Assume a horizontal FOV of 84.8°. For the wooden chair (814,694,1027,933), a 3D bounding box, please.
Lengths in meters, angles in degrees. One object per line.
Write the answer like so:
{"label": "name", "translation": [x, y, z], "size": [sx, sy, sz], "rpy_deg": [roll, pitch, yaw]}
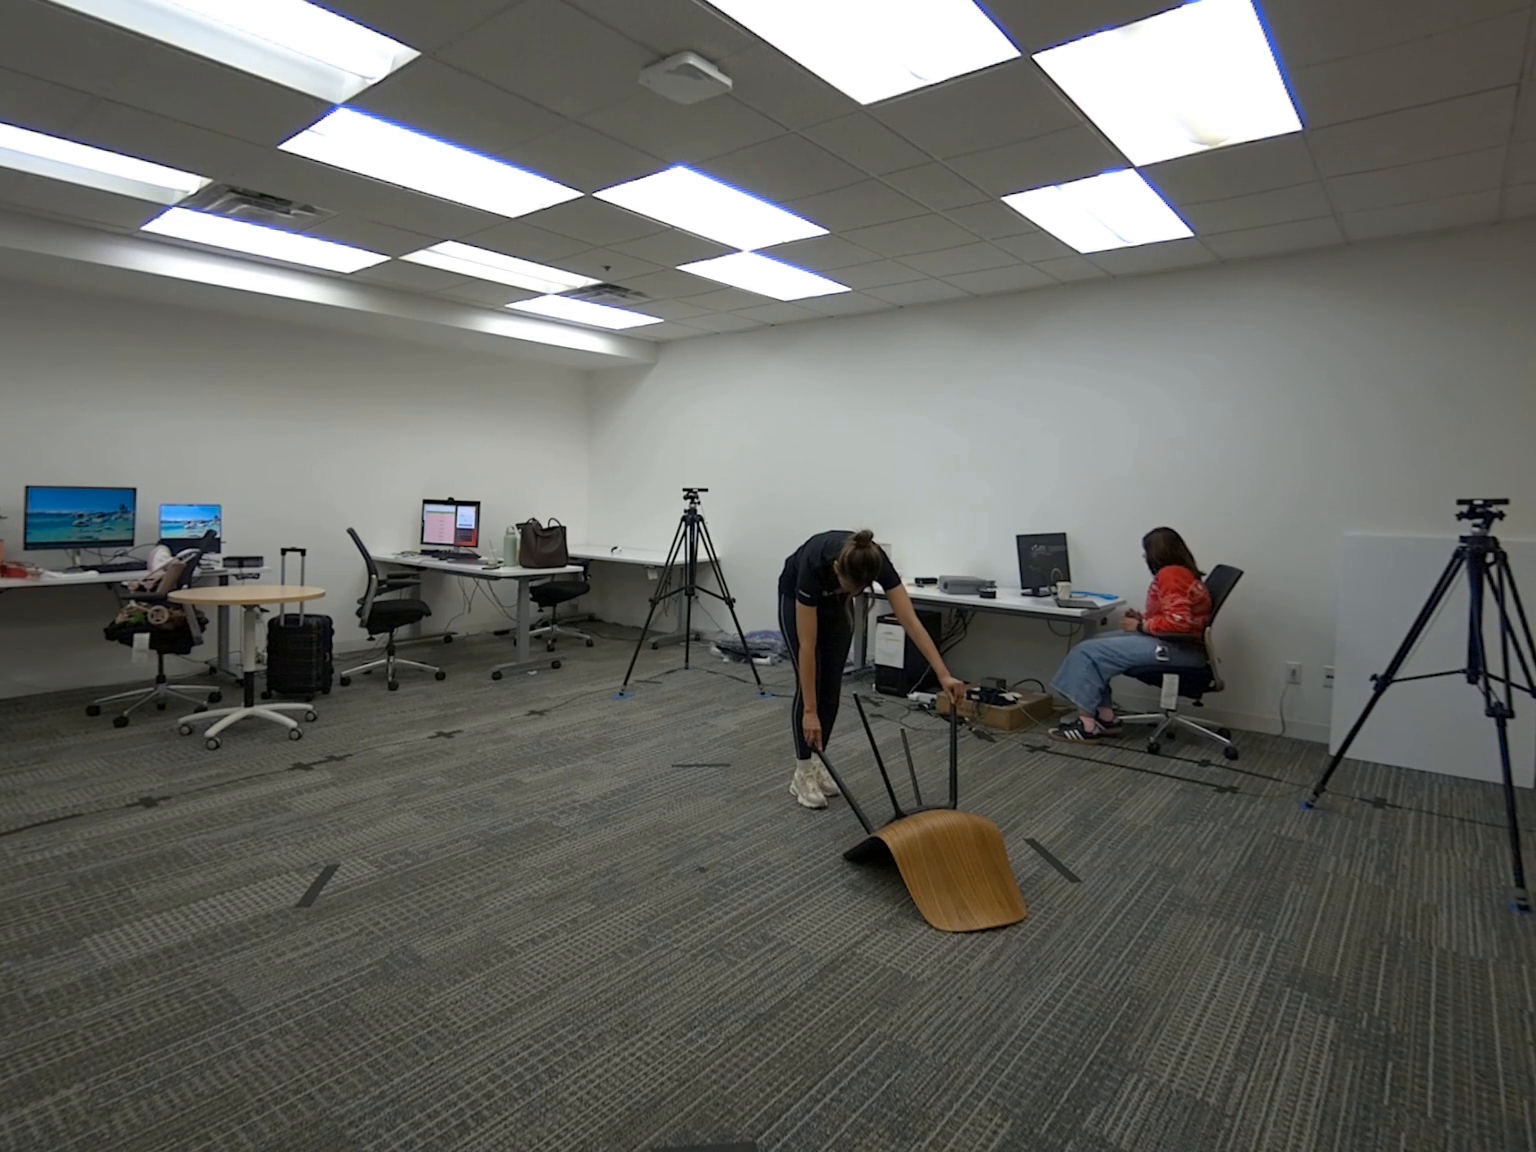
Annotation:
{"label": "wooden chair", "translation": [0.532, 0.907, 3.165], "size": [0.468, 0.907, 0.517], "rpy_deg": [0, -37, -23]}
